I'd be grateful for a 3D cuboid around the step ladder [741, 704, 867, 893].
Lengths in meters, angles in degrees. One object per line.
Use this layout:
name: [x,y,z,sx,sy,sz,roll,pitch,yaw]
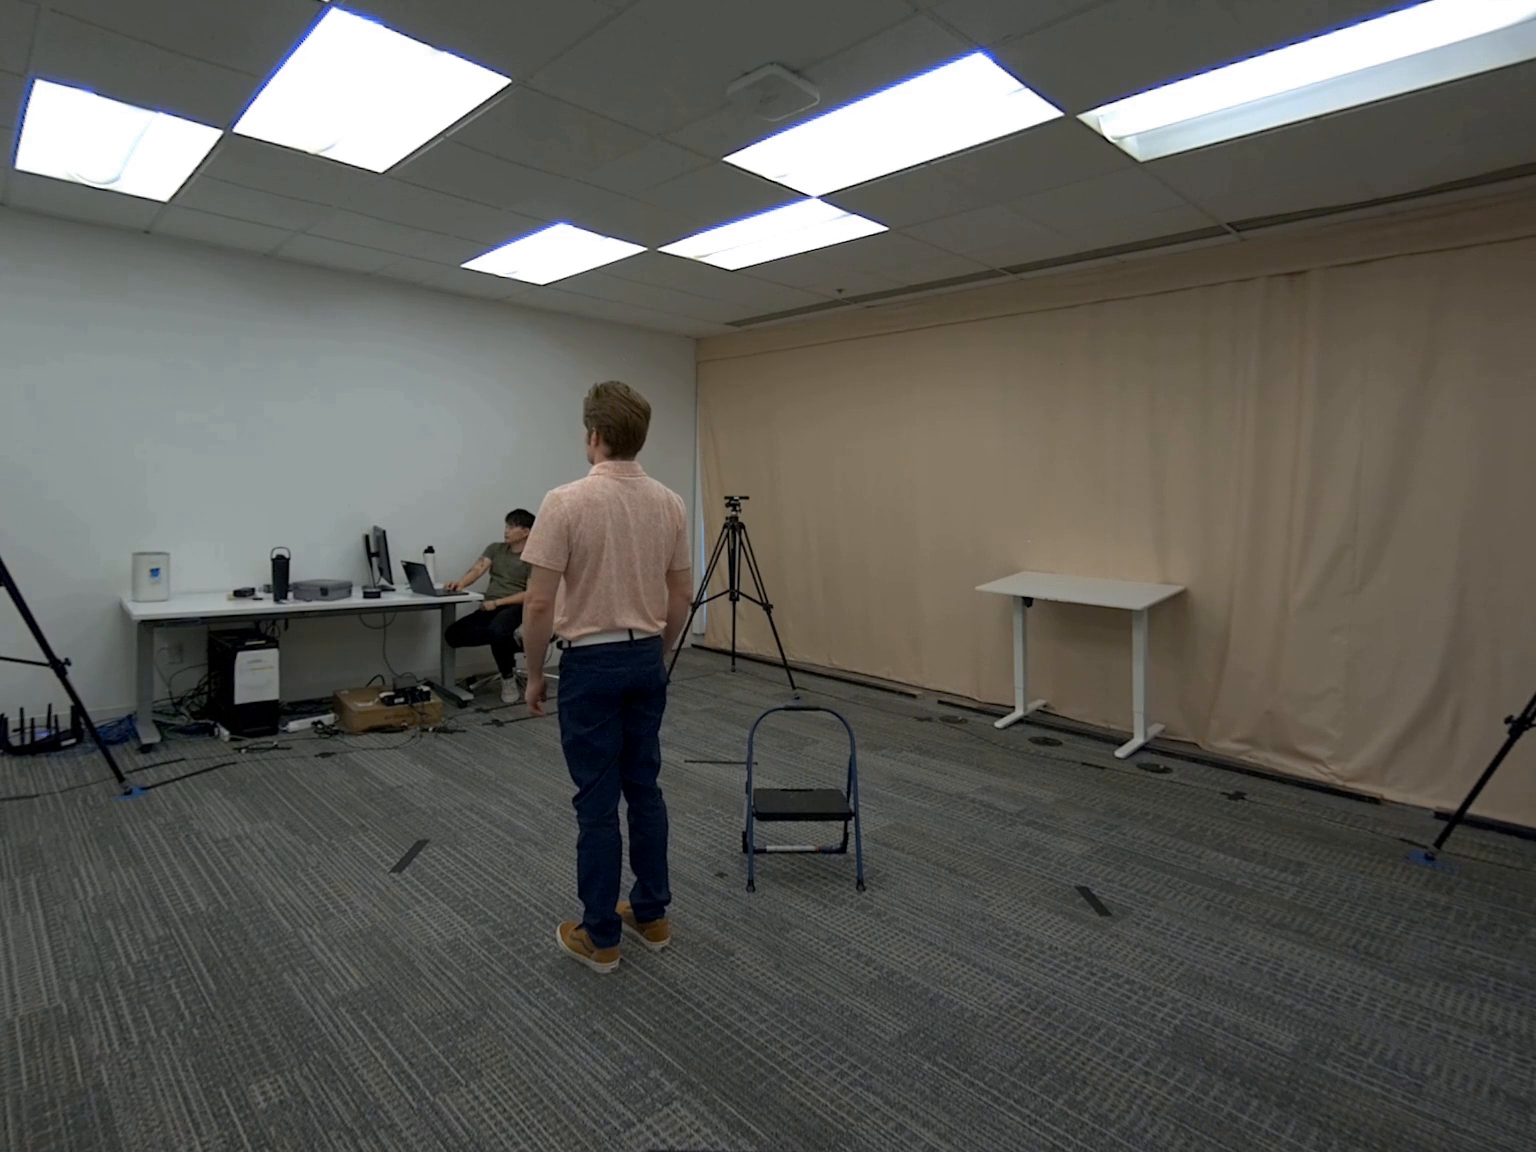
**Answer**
step ladder: [0.123,0.807,3.145,0.428,0.604,0.352,2,4,-6]
